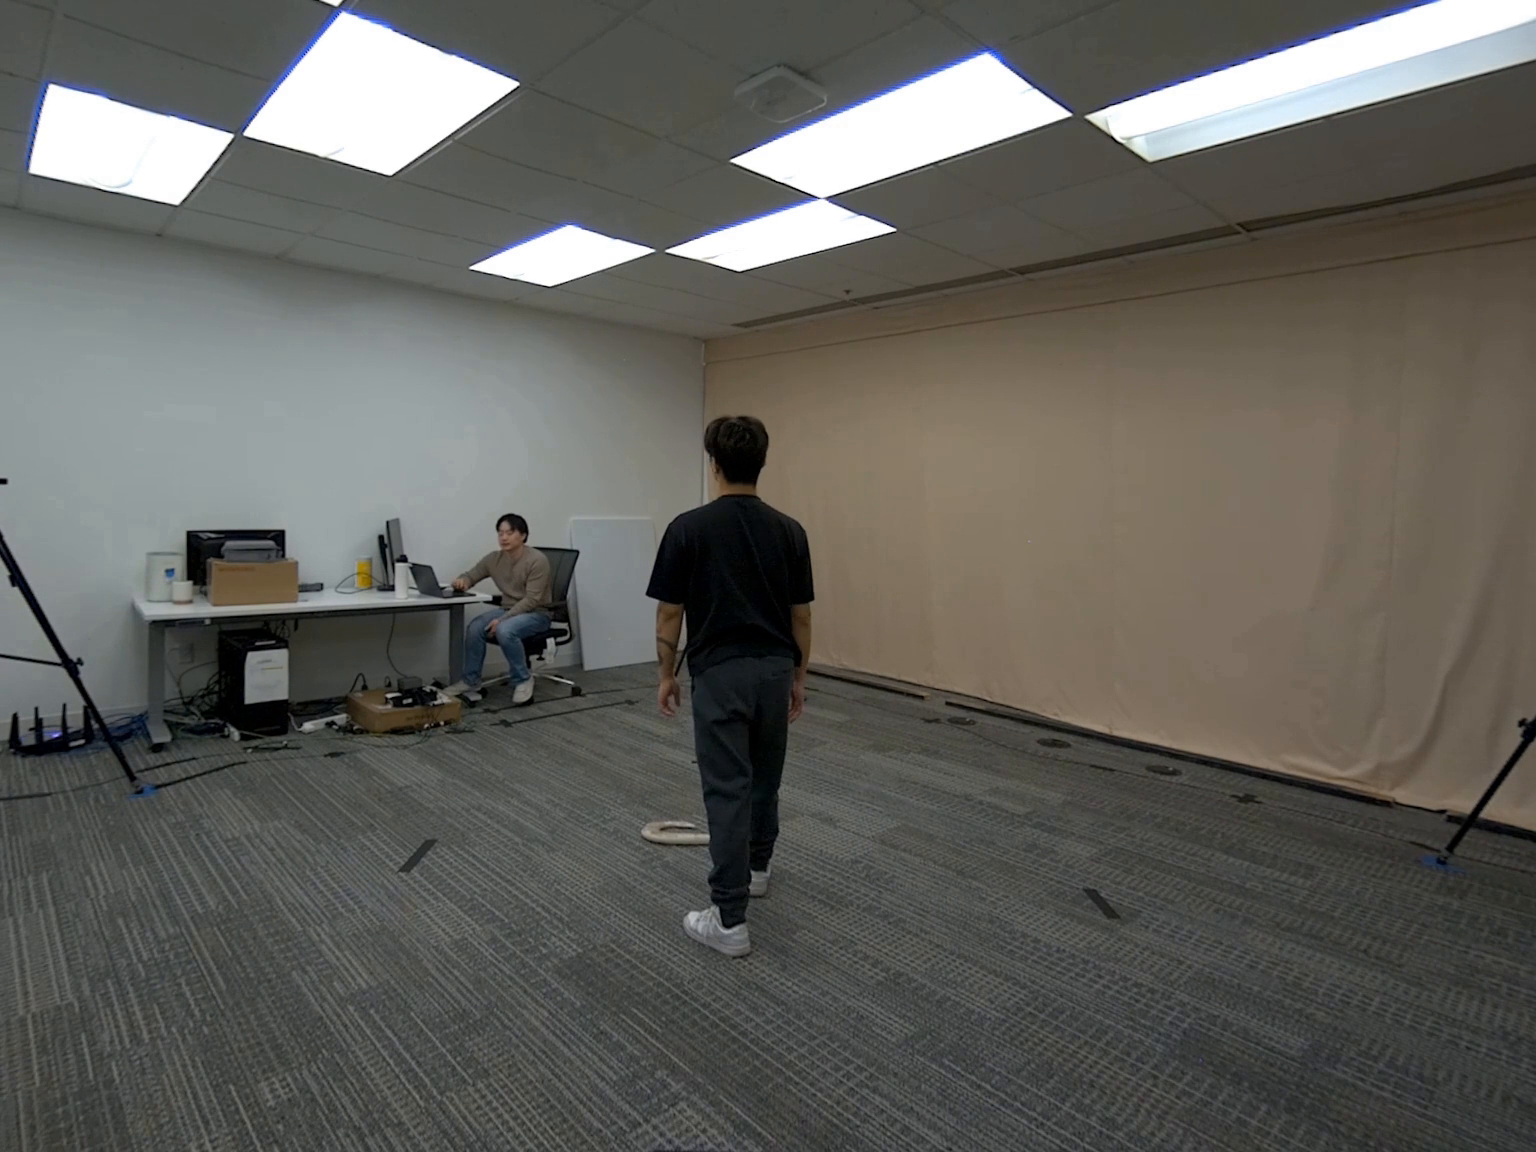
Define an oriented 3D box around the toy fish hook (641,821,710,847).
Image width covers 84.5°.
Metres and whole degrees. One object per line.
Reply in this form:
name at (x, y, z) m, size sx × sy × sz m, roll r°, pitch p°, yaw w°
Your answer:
toy fish hook at (-0.272, 1.051, 3.436) m, size 0.512 × 0.048 × 0.223 m, roll 3°, pitch 7°, yaw 13°
